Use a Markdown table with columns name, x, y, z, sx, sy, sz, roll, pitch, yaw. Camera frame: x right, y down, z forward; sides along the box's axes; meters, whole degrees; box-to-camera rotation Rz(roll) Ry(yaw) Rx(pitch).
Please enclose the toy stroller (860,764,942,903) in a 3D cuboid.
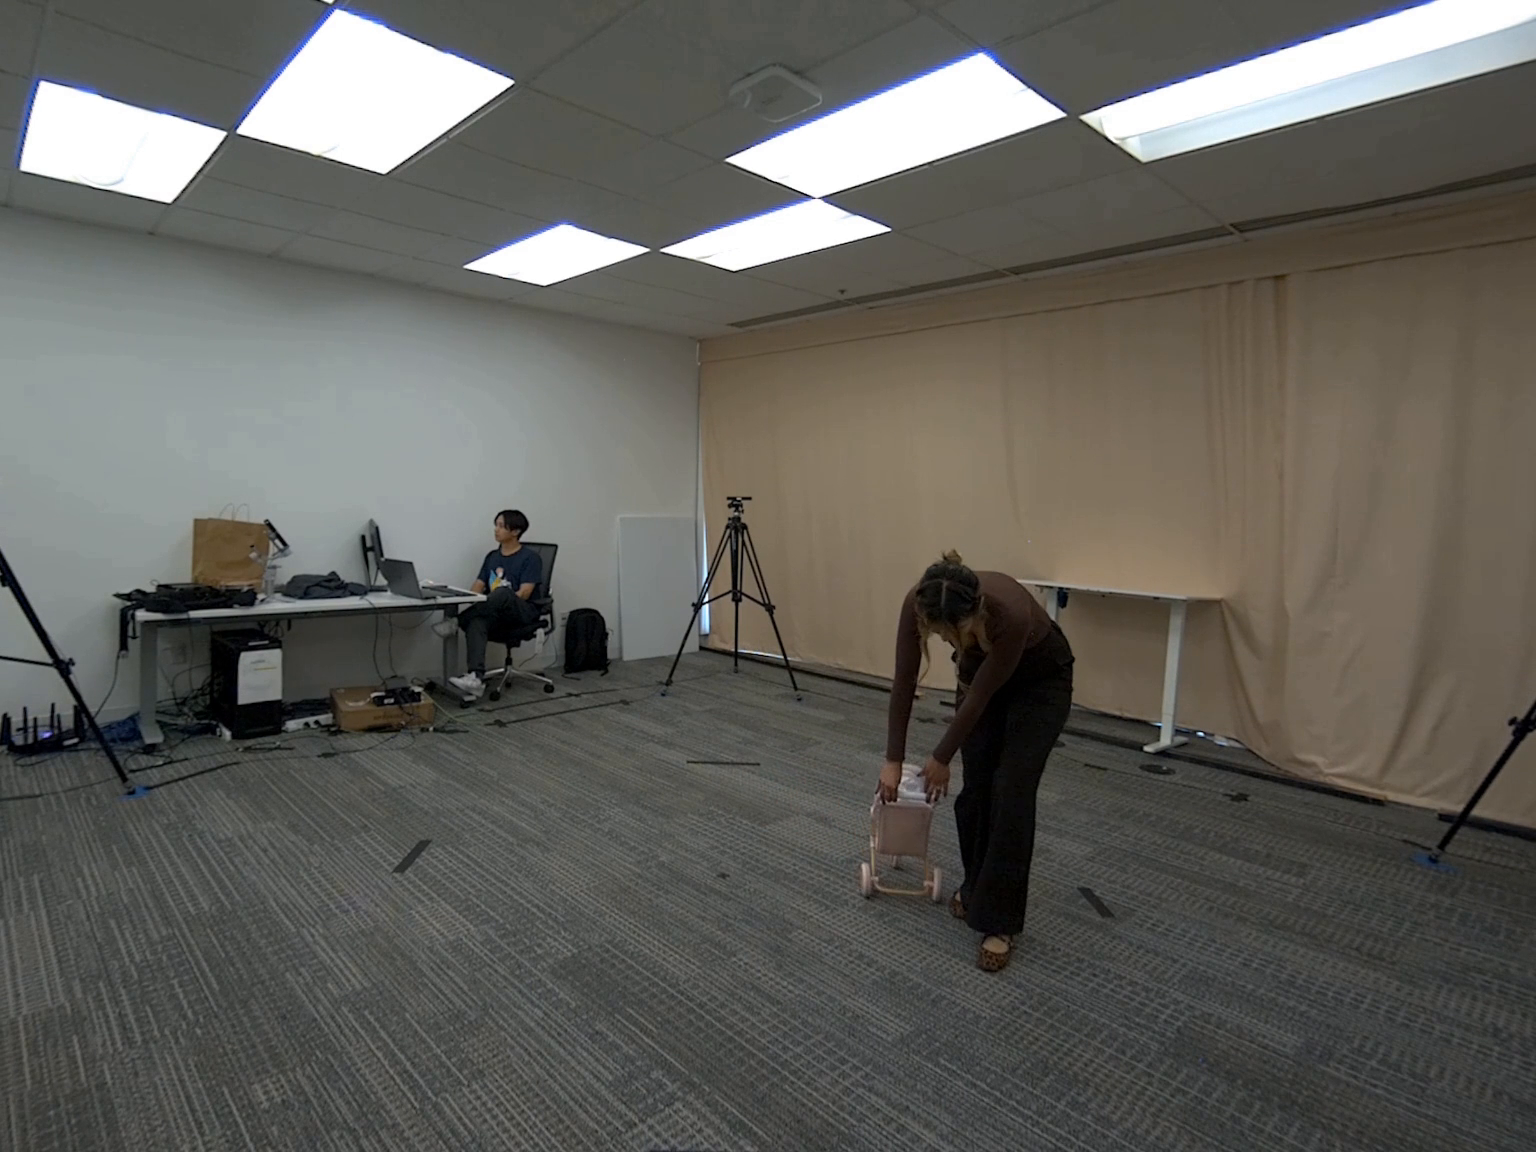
| name | x | y | z | sx | sy | sz | roll | pitch | yaw |
| --- | --- | --- | --- | --- | --- | --- | --- | --- | --- |
| toy stroller | 0.471 | 0.904 | 3.012 | 0.284 | 0.527 | 0.343 | 4 | 21 | 8 |
